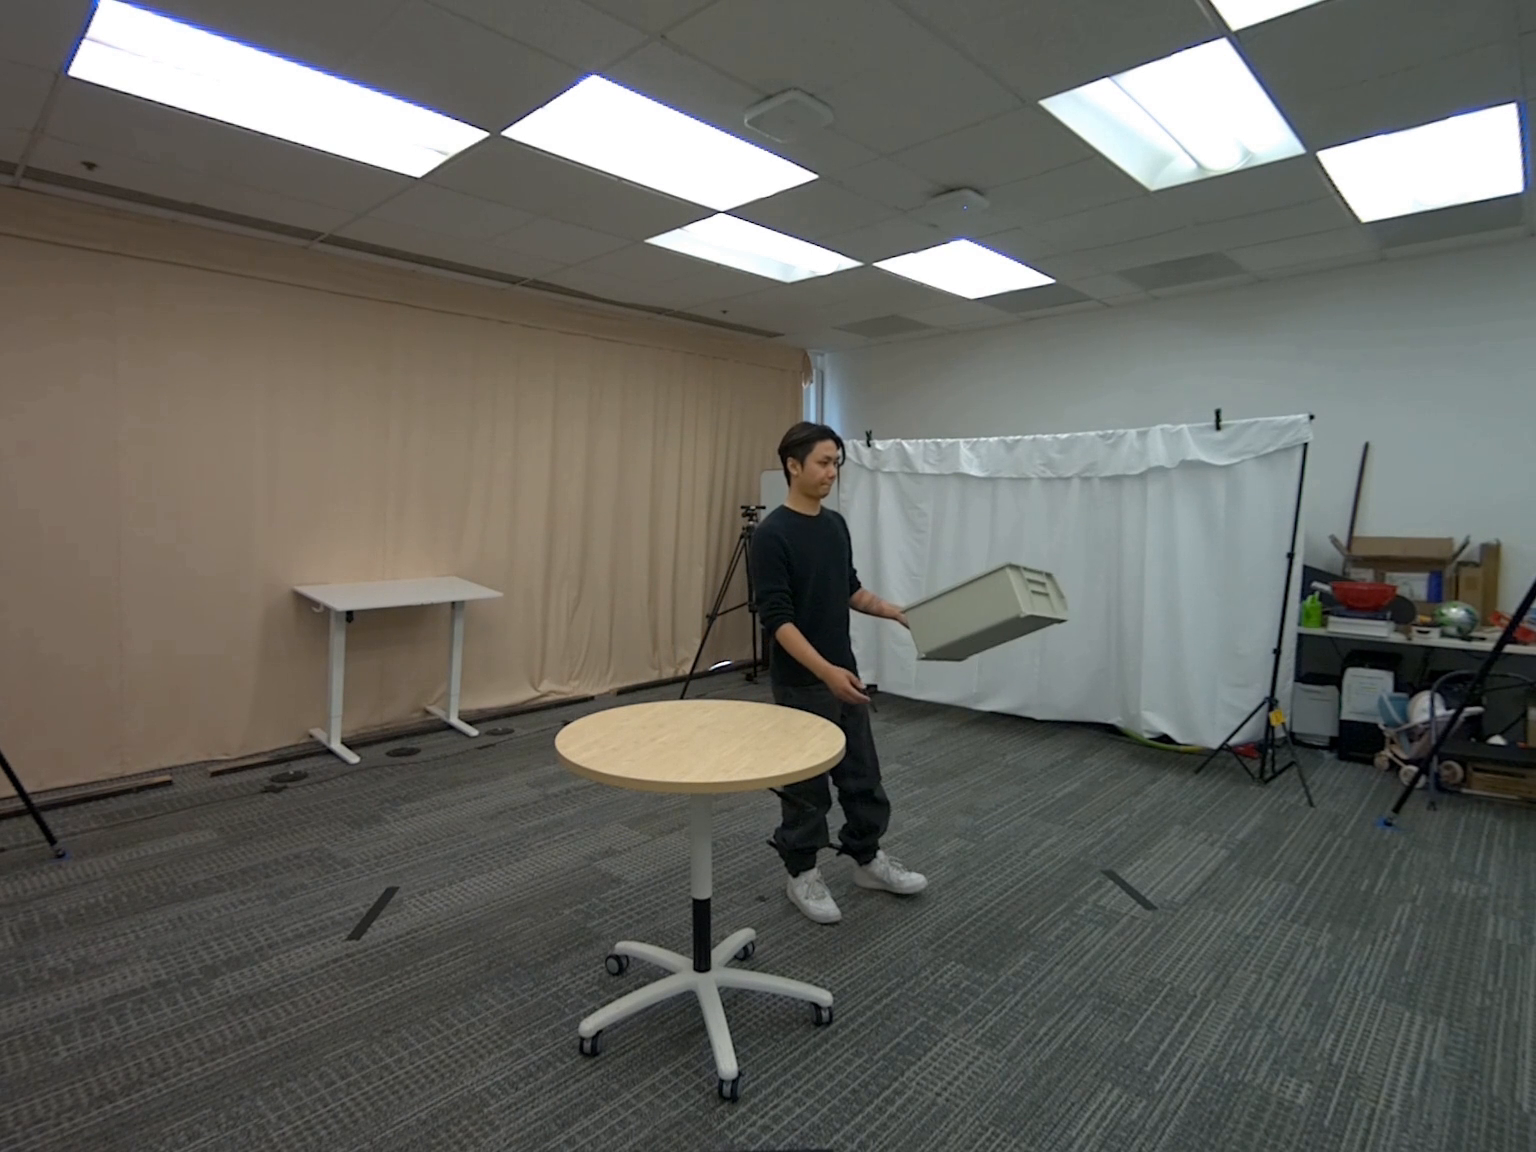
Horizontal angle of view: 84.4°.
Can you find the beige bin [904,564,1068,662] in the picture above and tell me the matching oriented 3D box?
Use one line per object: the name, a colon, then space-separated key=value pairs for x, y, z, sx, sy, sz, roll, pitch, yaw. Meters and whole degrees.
beige bin: x=0.740 y=0.137 z=2.813 sx=0.430 sy=0.192 sz=0.364 roll=-28 pitch=-23 yaw=35
